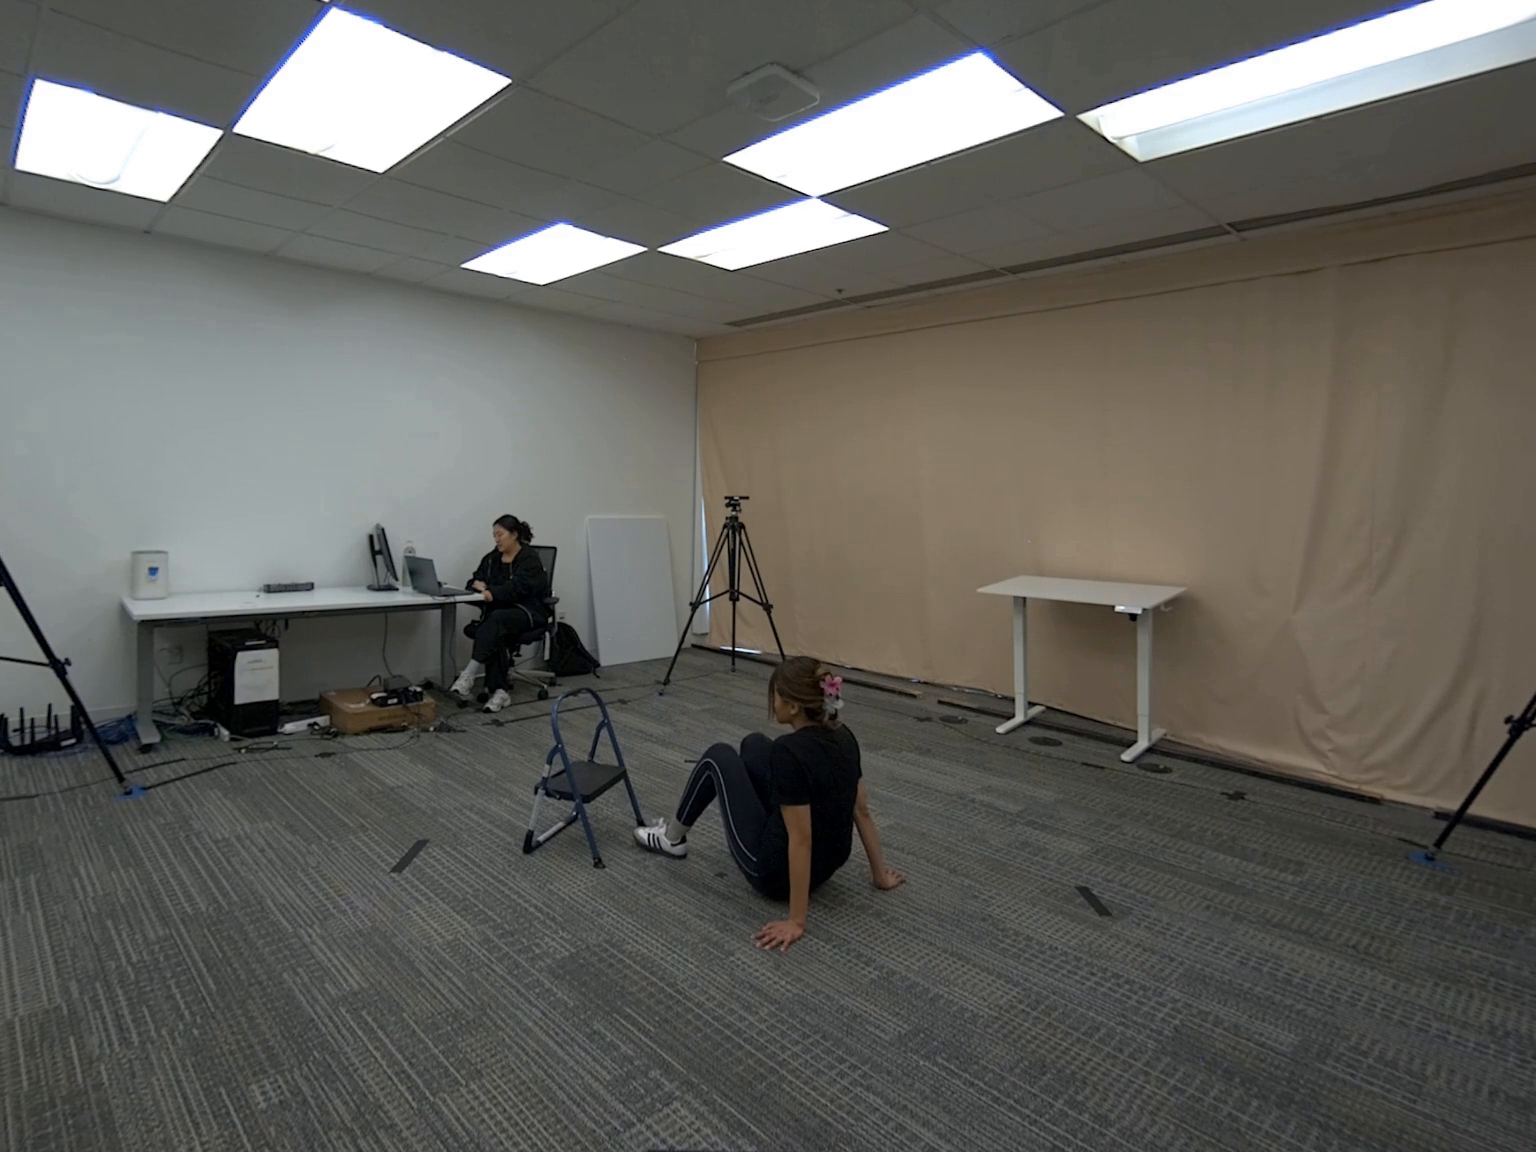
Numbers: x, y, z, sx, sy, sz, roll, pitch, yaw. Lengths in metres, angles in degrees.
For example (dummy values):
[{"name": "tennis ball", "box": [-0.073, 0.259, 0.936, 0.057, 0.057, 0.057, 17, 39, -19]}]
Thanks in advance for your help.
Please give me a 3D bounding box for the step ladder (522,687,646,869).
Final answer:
[{"name": "step ladder", "box": [-0.728, 0.762, 3.374, 0.354, 0.604, 0.426, 3, 4, 16]}]
